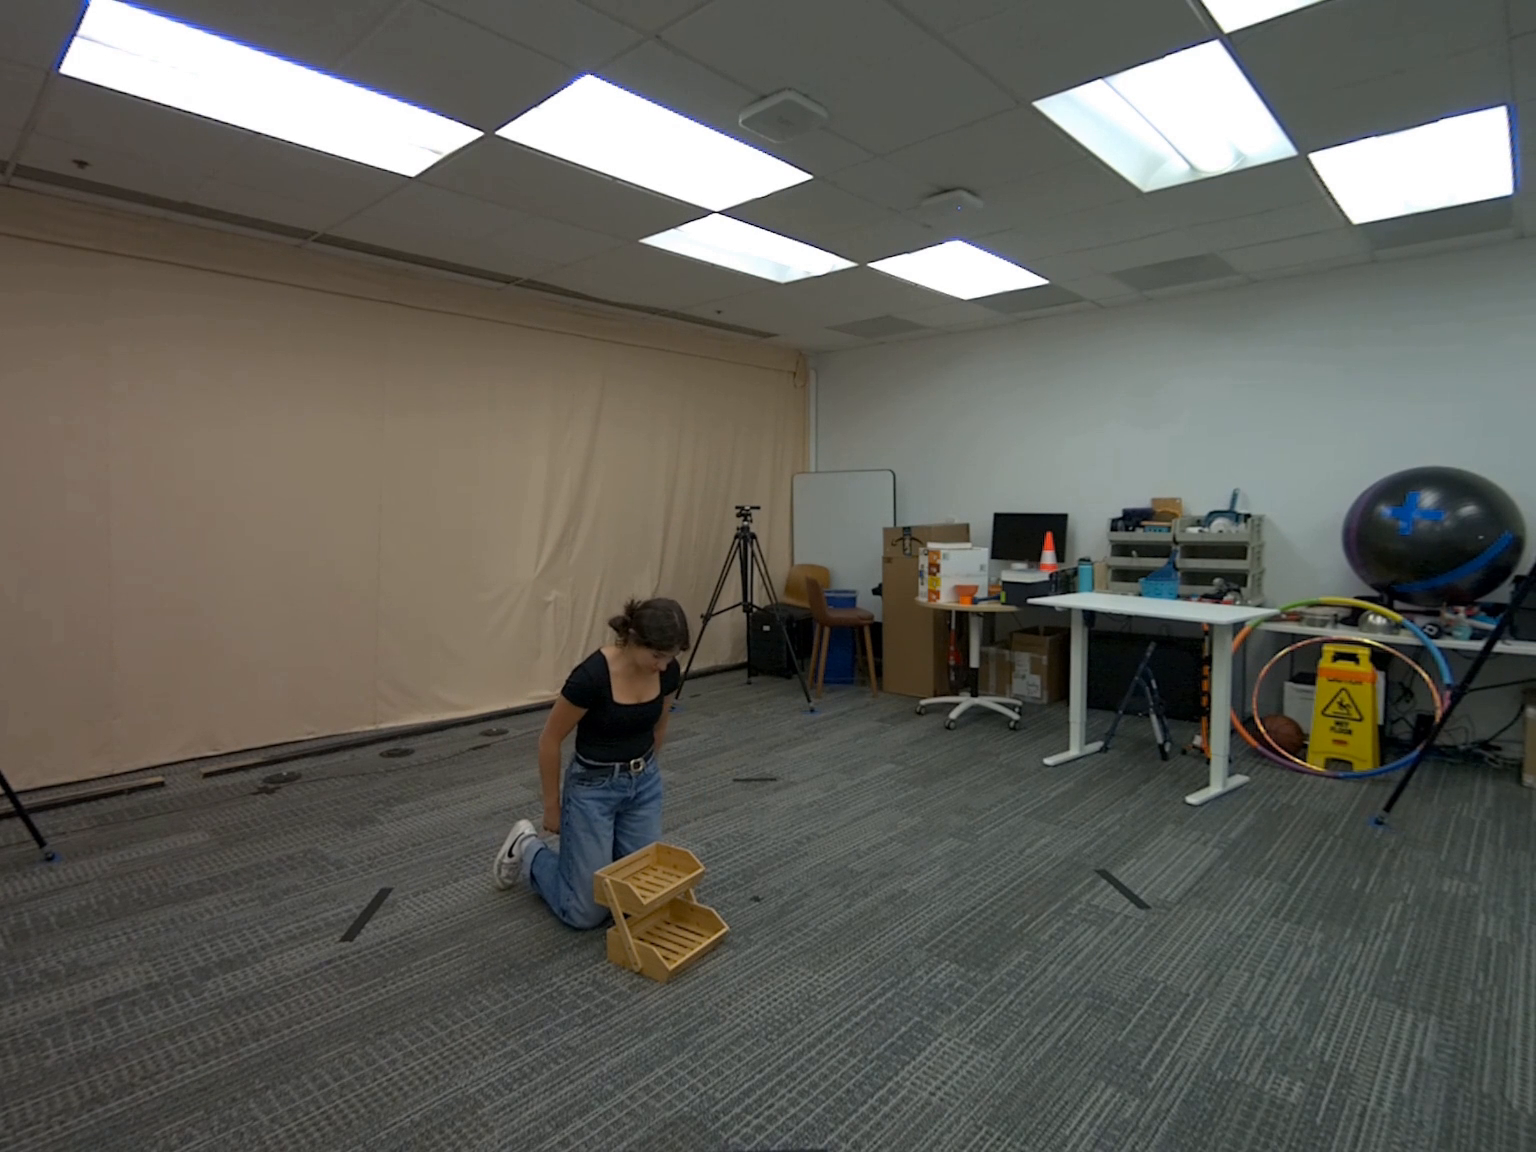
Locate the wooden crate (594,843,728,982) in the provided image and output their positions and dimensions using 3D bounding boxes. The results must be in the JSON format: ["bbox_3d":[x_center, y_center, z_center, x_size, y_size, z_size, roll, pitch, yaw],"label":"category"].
[{"bbox_3d":[-0.326,1.045,2.638,0.311,0.272,0.315,2,5,34],"label":"wooden crate"}]
